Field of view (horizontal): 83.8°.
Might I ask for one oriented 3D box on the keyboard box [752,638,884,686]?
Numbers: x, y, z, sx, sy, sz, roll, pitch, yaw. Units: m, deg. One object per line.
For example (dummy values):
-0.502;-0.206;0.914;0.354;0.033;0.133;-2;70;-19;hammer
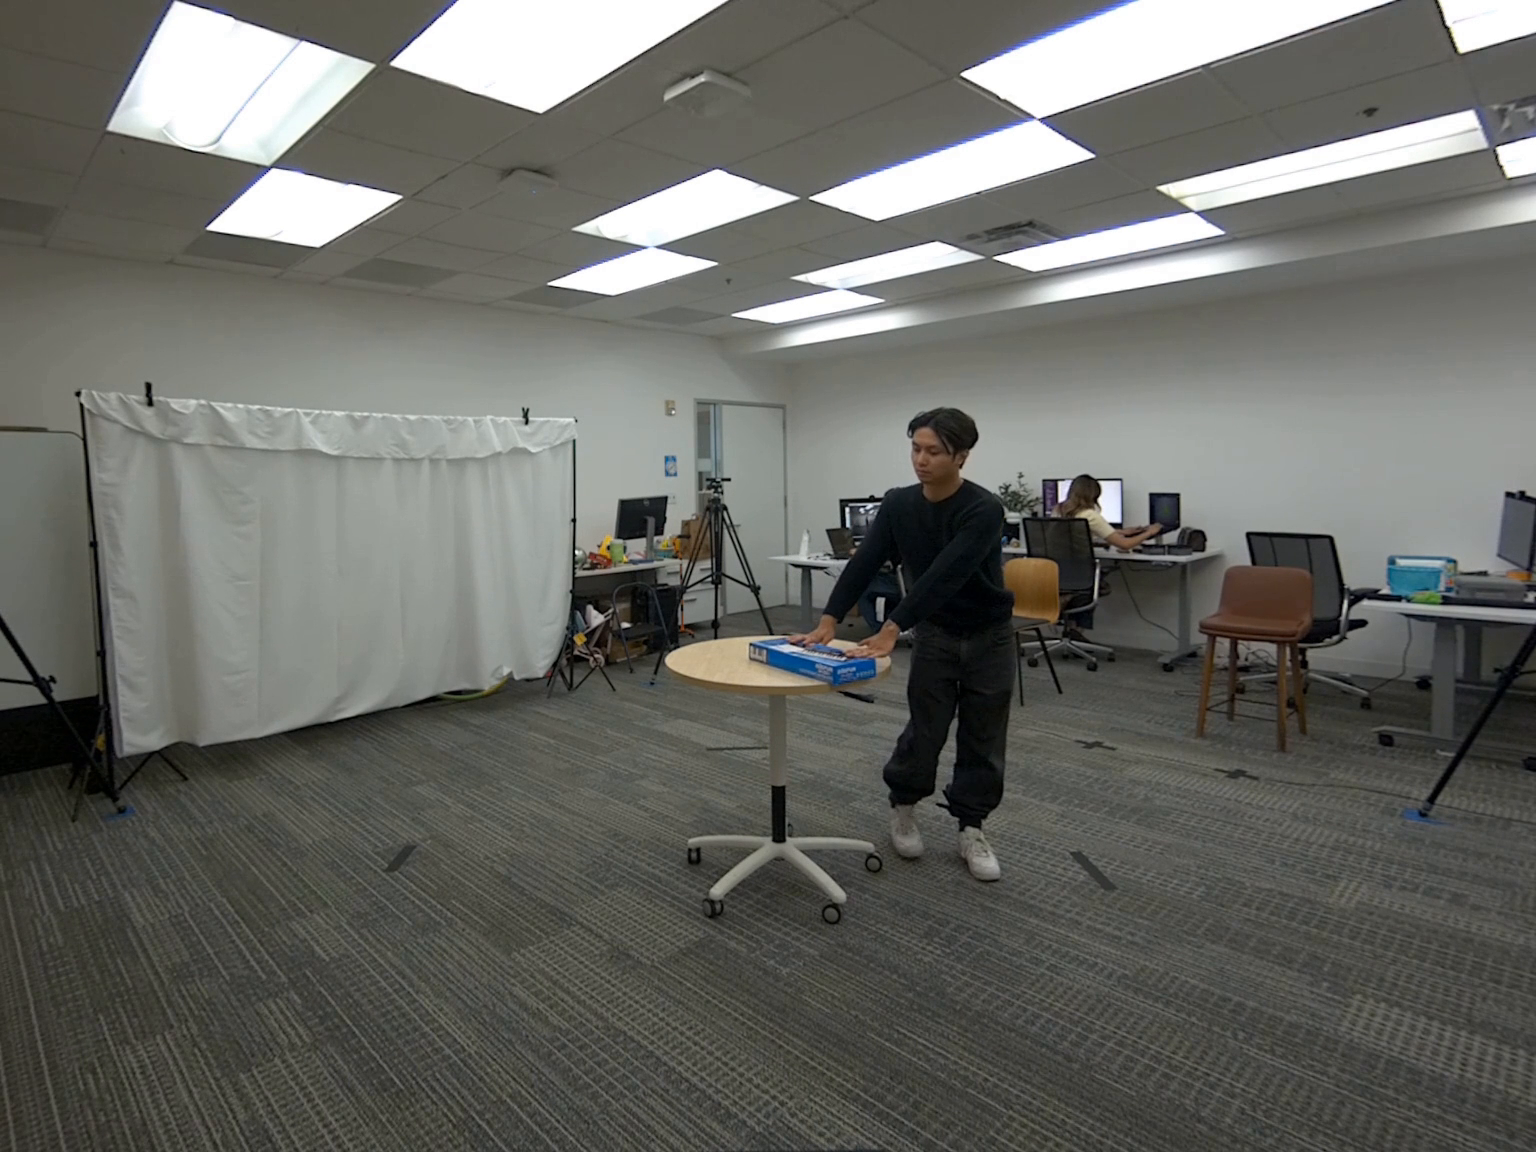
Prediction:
0.148;0.269;2.759;0.171;0.059;0.450;-5;7;-36;keyboard box
